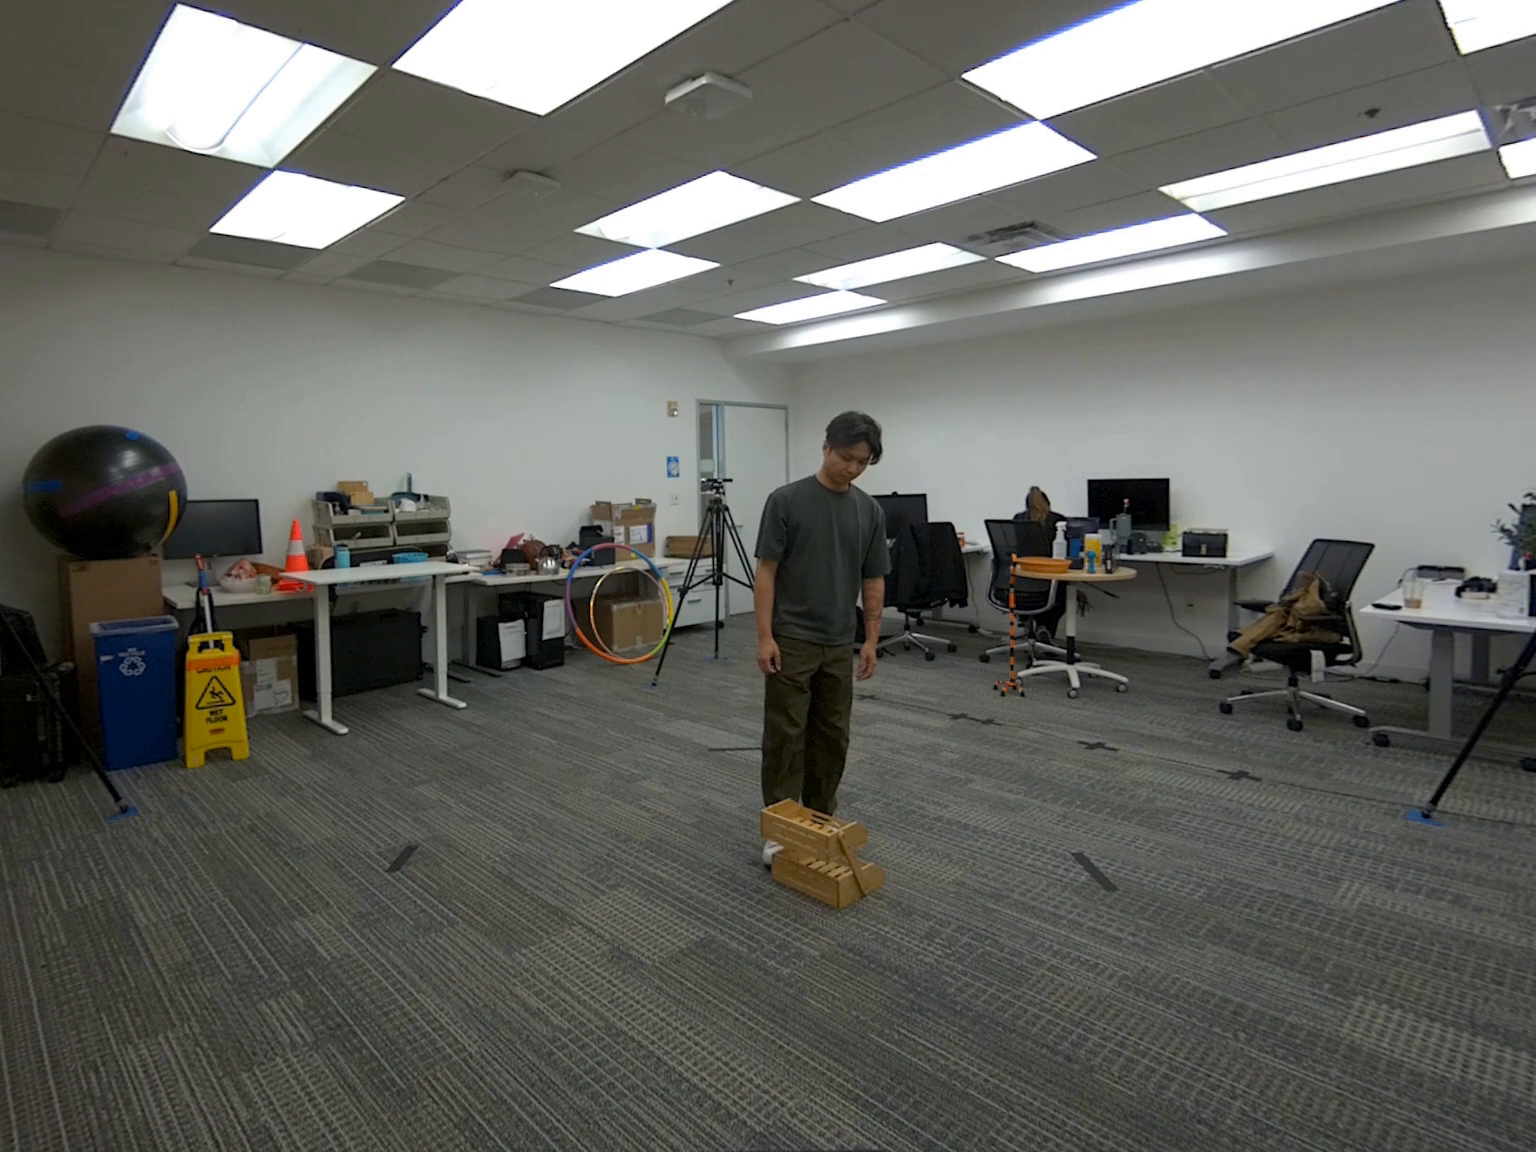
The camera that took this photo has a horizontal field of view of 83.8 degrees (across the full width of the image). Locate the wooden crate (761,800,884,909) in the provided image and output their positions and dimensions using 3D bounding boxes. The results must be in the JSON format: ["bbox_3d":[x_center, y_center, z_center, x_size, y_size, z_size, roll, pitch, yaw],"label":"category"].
[{"bbox_3d":[0.193,0.932,2.932,0.294,0.272,0.334,-6,7,-44],"label":"wooden crate"}]
